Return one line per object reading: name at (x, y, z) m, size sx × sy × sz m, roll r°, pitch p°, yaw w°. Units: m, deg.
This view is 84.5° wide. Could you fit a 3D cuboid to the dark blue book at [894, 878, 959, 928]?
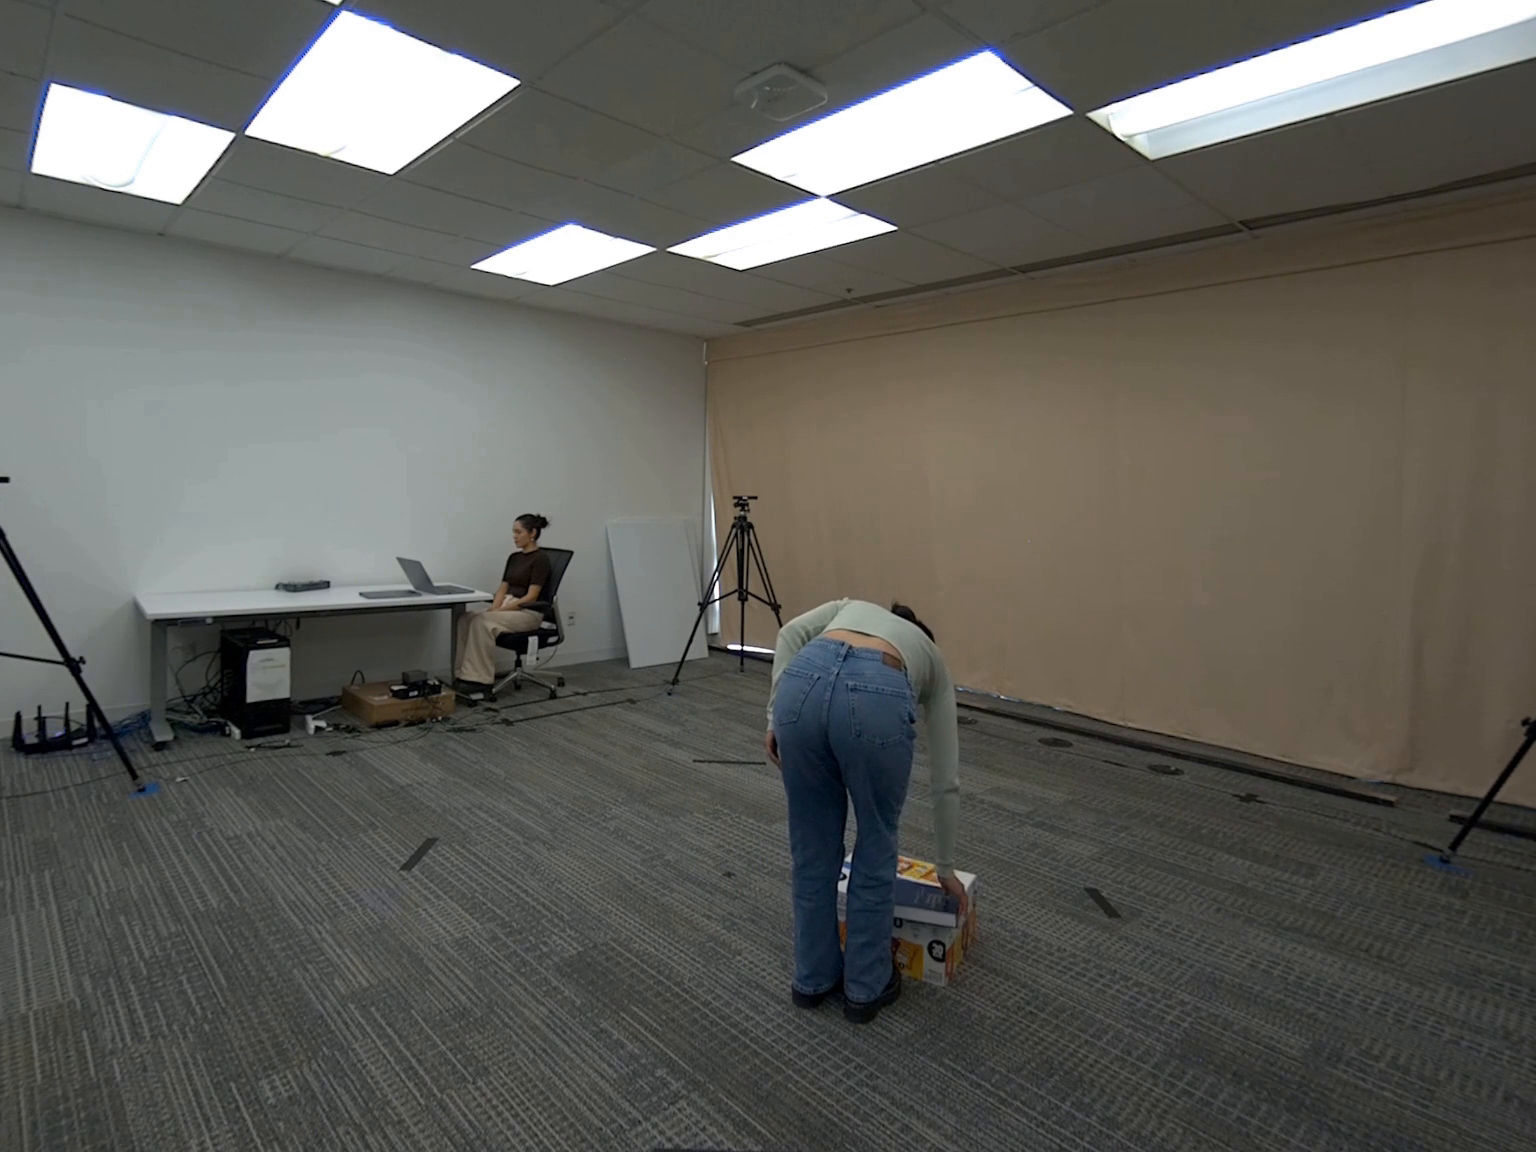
dark blue book at (0.431, 0.957, 2.464) m, size 0.248 × 0.045 × 0.162 m, roll 3°, pitch 6°, yaw 16°
